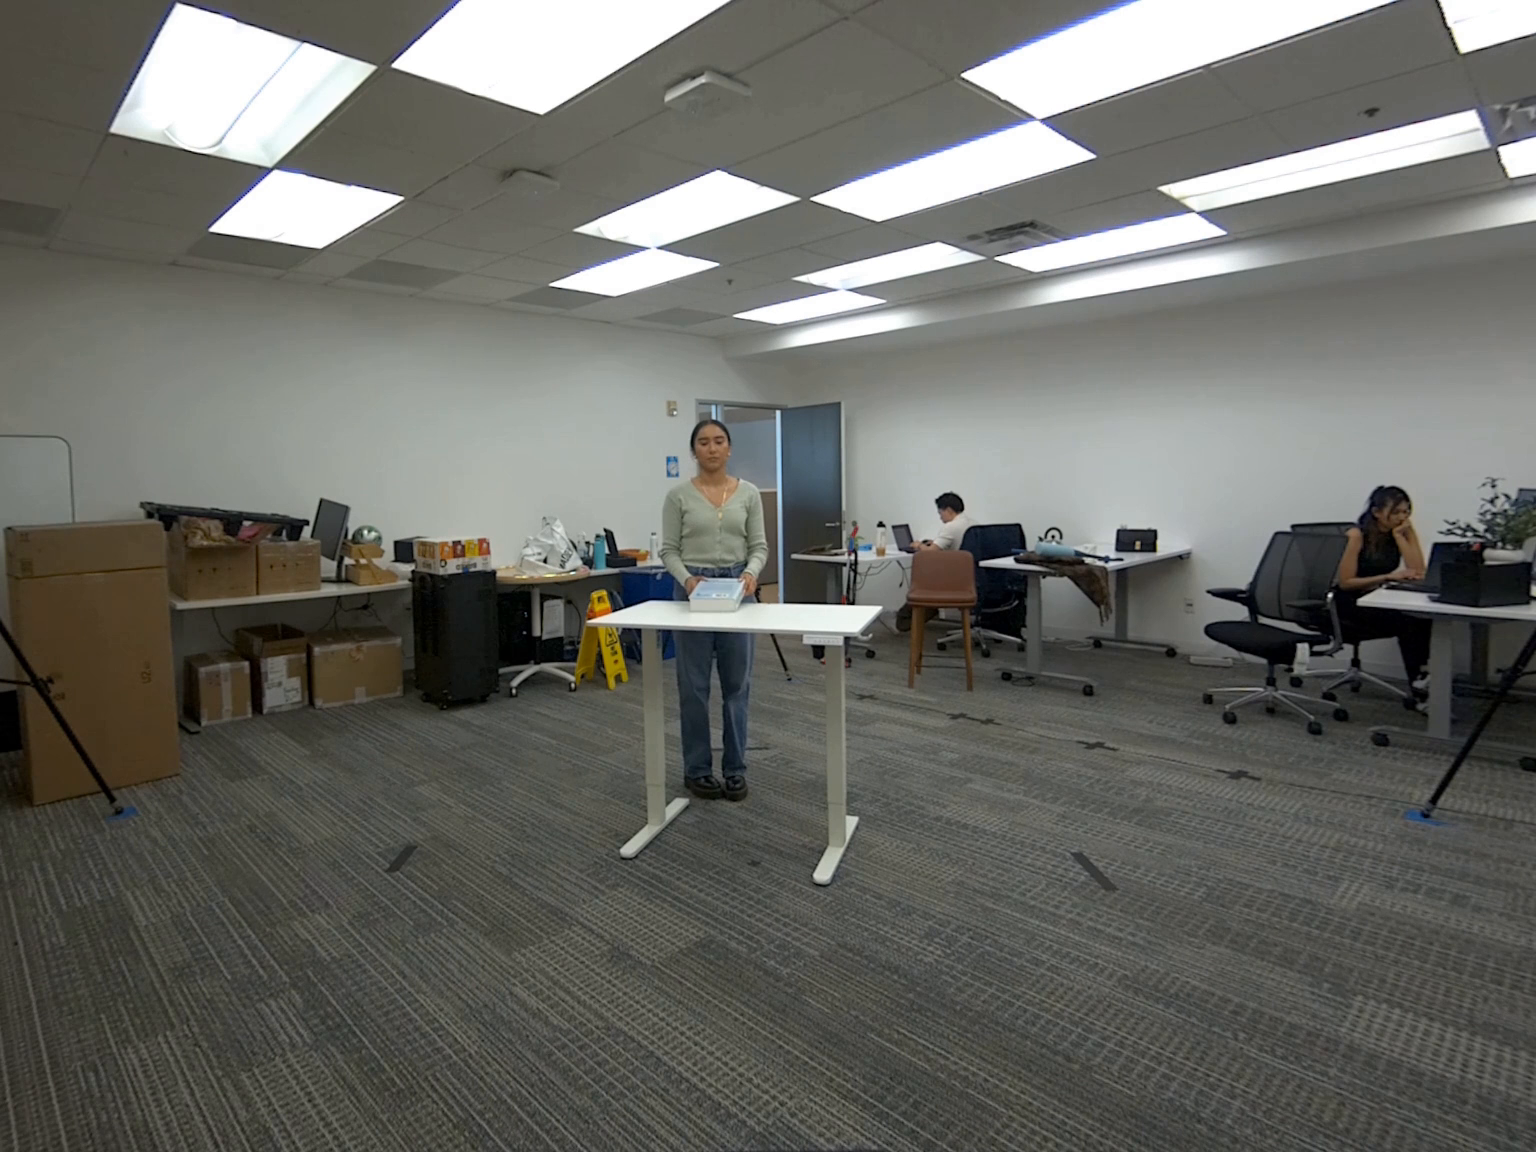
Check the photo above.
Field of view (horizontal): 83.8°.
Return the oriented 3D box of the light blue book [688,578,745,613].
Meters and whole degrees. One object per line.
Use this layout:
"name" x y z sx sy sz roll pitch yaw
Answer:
"light blue book" -0.213 0.077 3.441 0.193 0.058 0.262 0 16 10
